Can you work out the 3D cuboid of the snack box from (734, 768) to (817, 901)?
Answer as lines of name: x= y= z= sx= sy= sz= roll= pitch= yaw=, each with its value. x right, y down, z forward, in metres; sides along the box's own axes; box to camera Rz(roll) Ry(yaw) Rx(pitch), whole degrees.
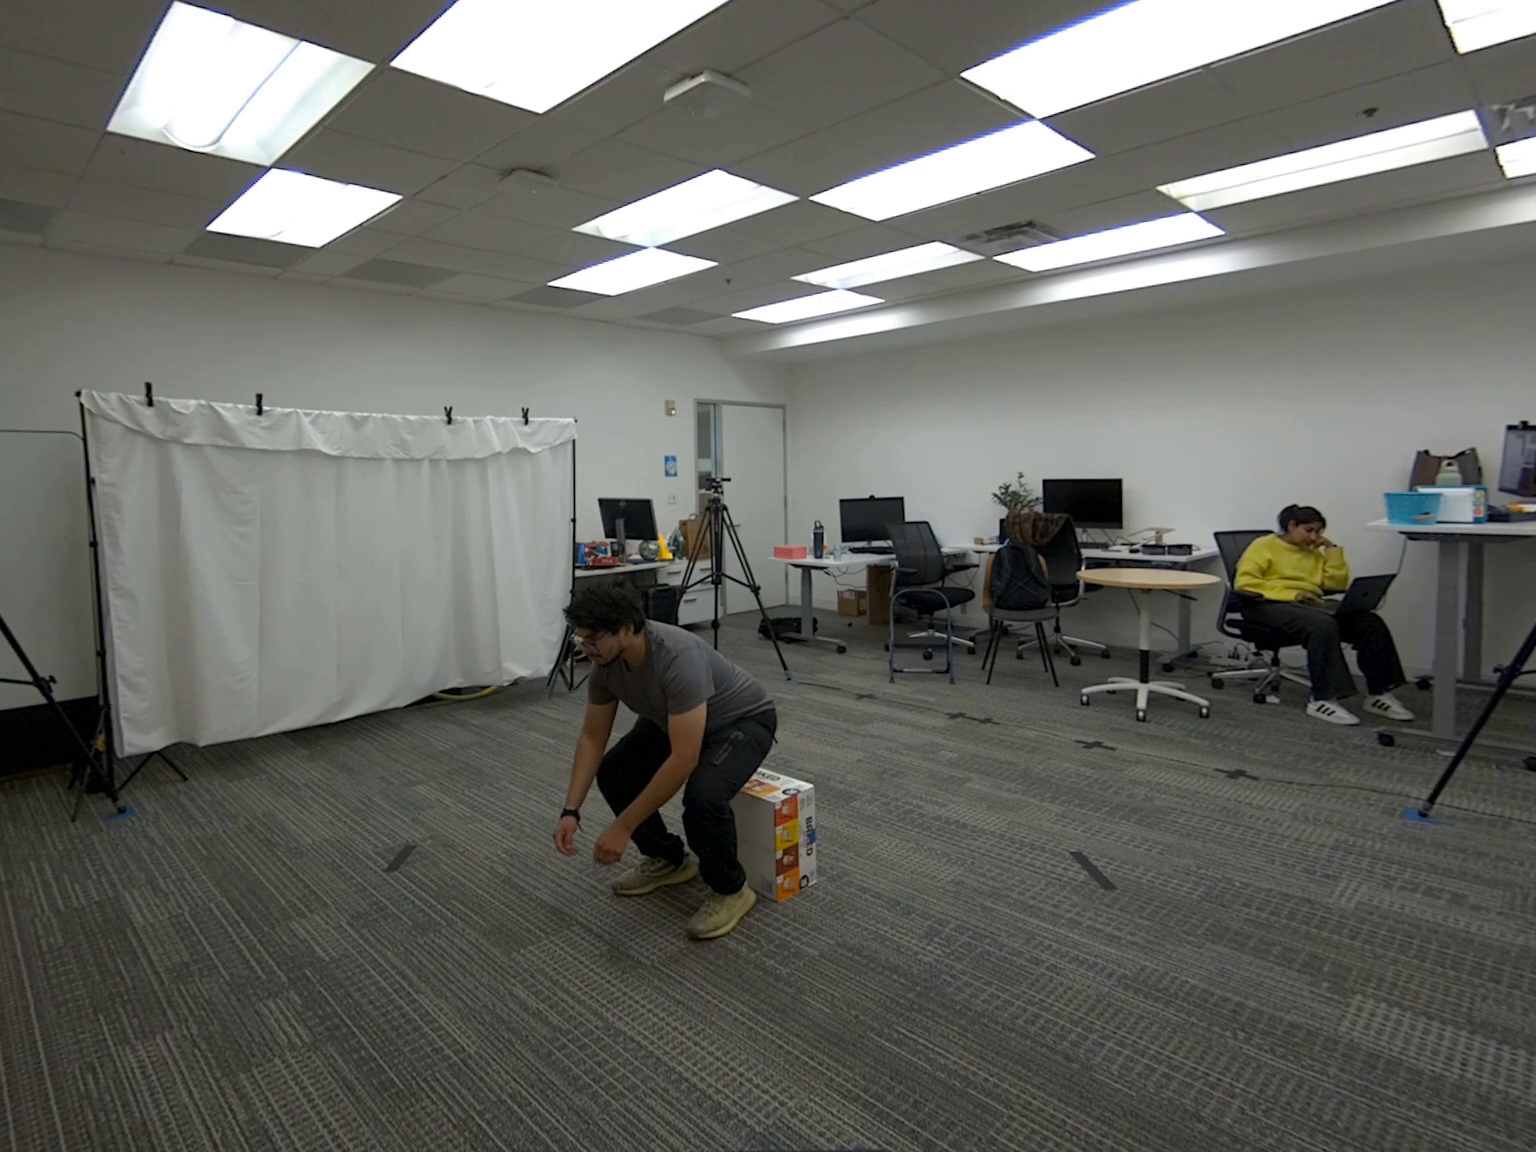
snack box: x=-0.047 y=0.883 z=3.016 sx=0.418 sy=0.339 sz=0.200 roll=4 pitch=7 yaw=44
